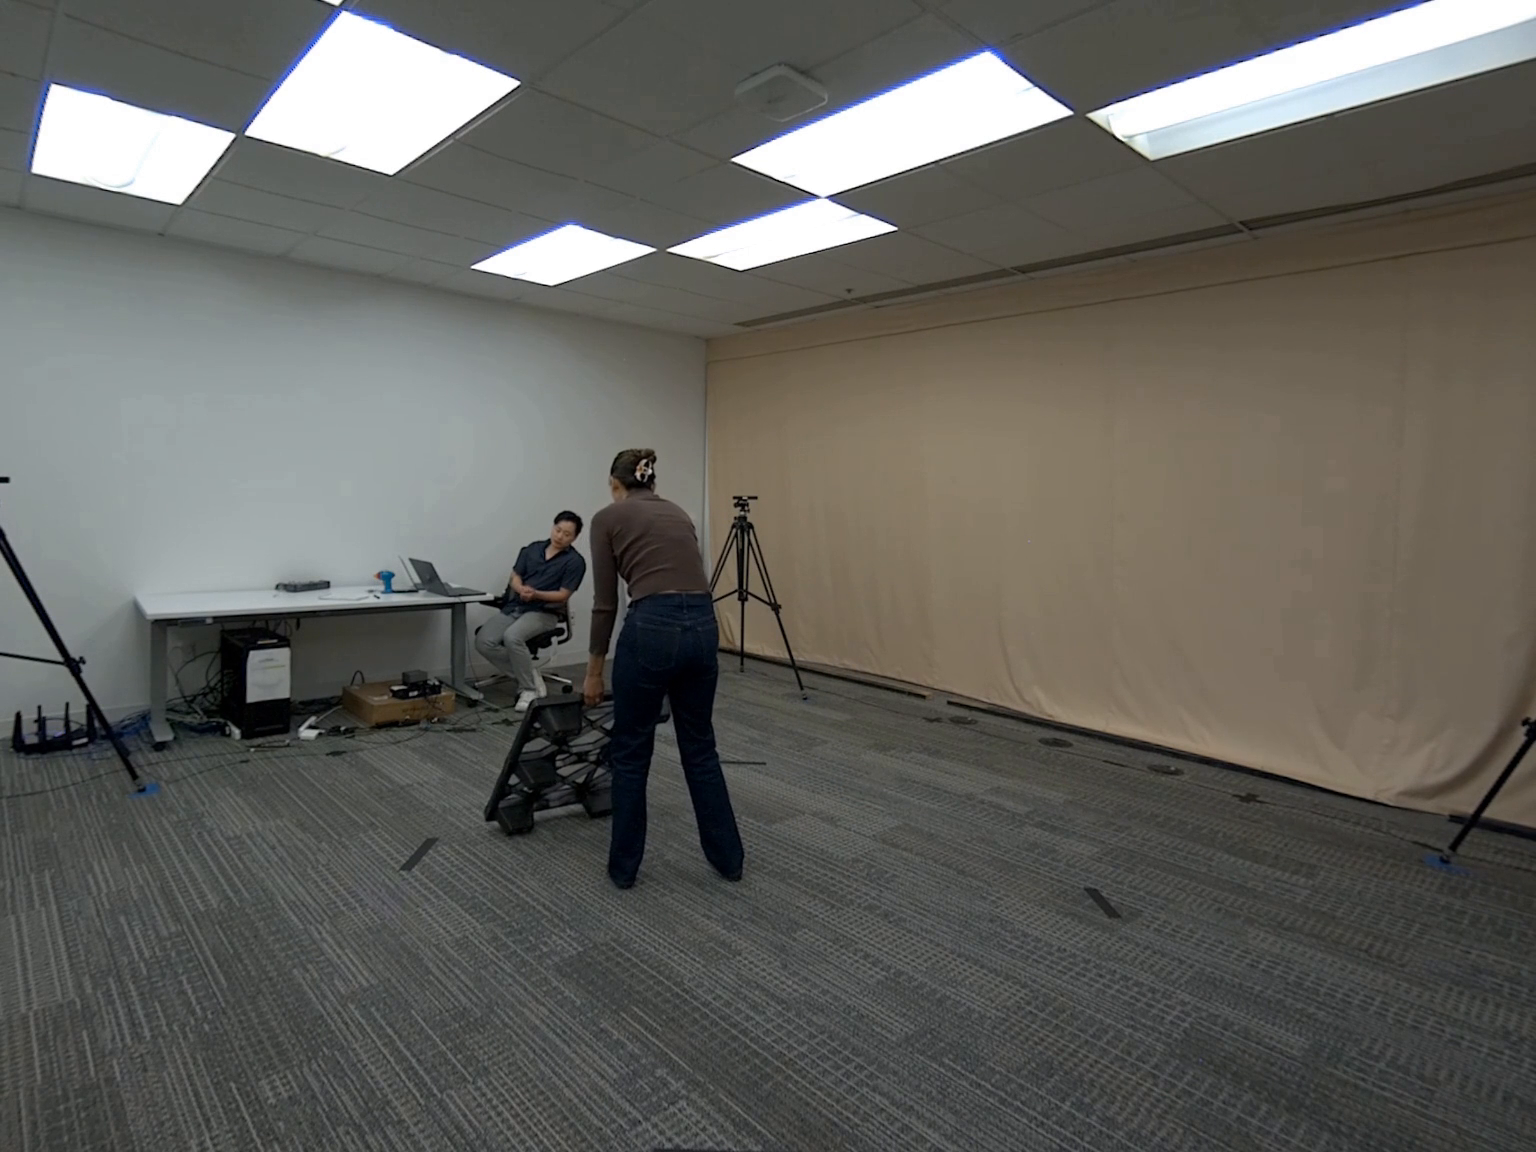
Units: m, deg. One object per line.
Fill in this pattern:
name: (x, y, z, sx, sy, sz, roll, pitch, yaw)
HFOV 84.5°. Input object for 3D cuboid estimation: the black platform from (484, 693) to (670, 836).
black platform: (-0.753, 0.743, 3.364, 0.592, 0.799, 0.147, -3, 47, -37)
